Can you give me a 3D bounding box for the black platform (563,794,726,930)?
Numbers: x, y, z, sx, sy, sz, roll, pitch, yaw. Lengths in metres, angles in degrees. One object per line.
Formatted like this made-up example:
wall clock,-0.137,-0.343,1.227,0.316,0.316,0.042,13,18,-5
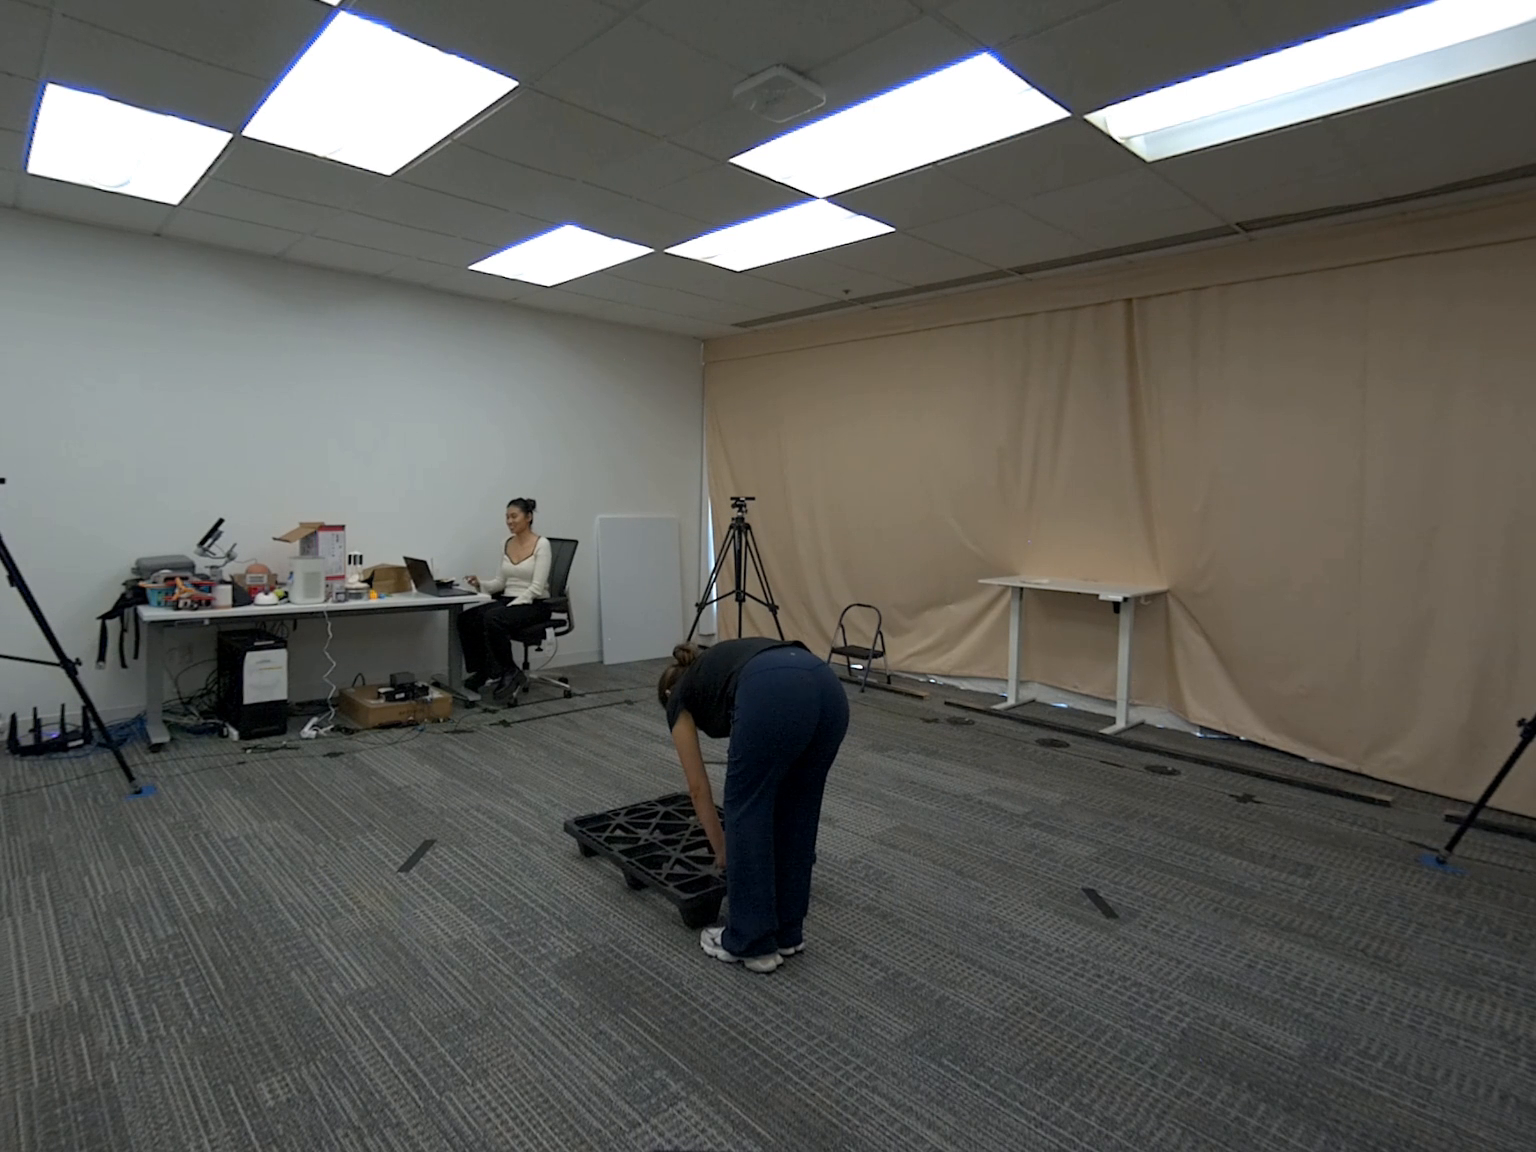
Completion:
black platform,-0.312,1.035,3.125,0.591,0.143,0.826,-2,6,-41
